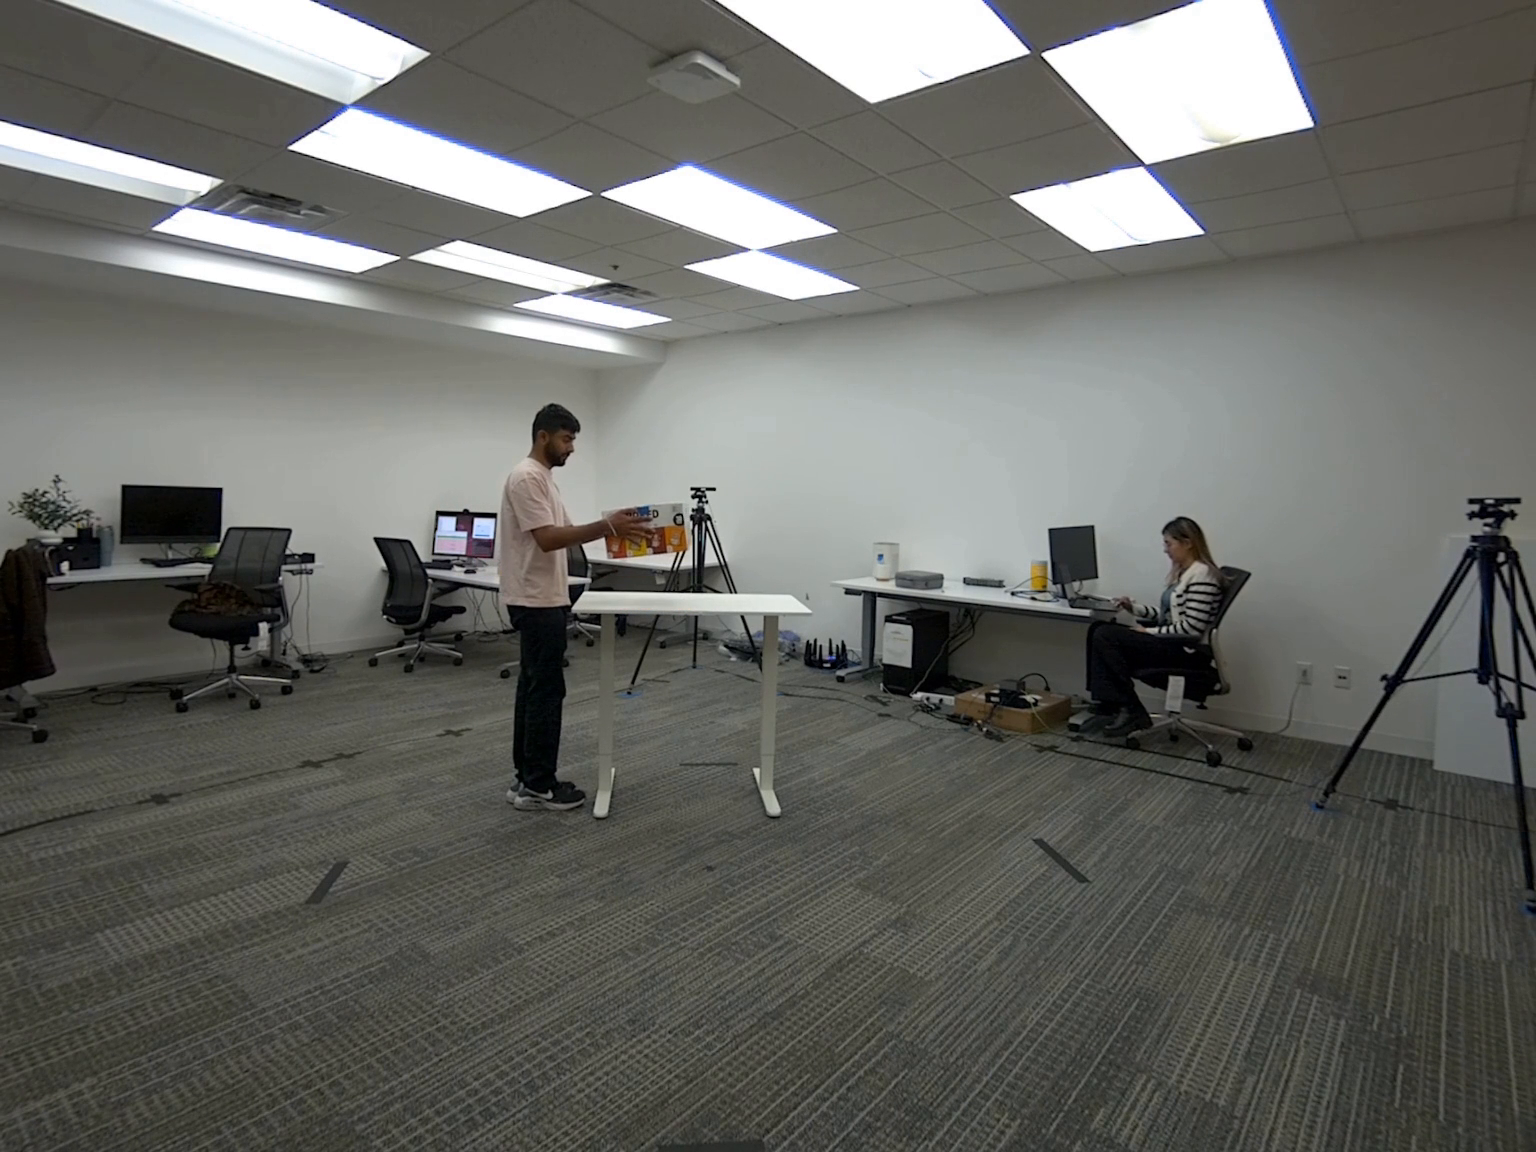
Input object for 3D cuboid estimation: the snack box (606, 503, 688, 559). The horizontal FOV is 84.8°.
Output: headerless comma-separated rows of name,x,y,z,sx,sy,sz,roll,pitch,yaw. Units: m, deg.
snack box,-0.534,-0.210,3.704,0.340,0.205,0.407,-6,6,0
